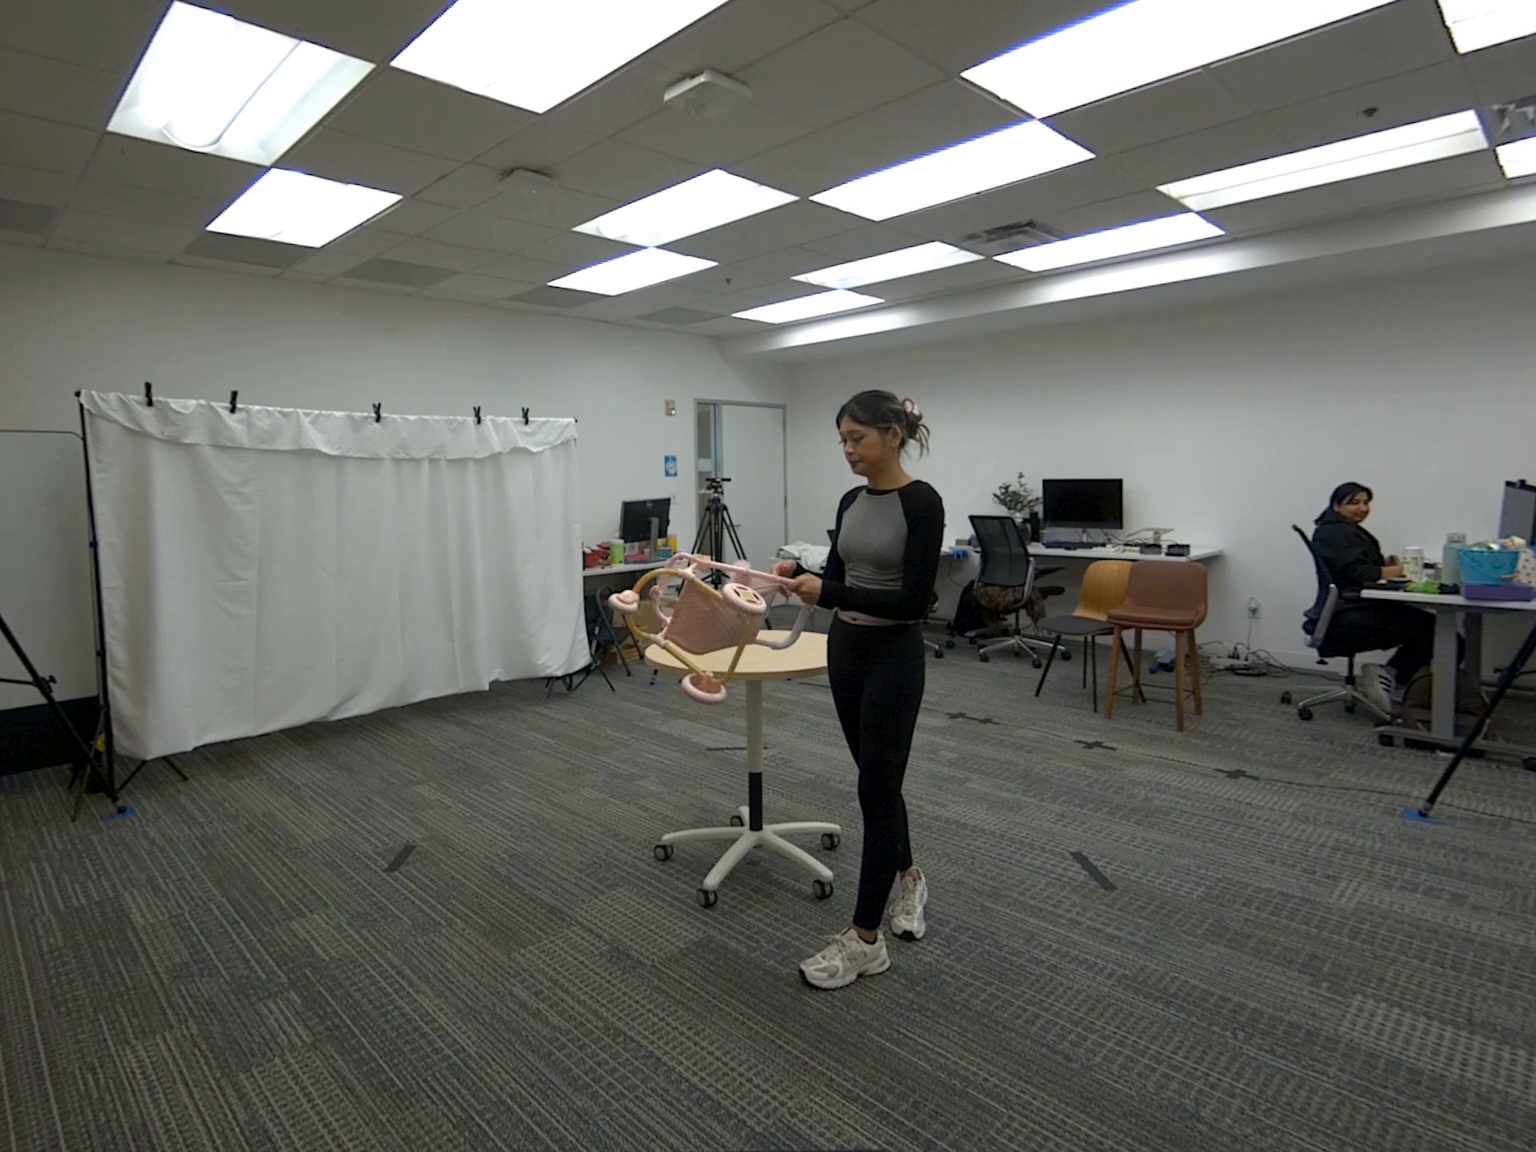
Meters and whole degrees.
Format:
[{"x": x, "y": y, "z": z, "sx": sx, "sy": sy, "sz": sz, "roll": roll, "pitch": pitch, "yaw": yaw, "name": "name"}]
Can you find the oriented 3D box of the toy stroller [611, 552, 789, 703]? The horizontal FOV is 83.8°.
[{"x": -0.136, "y": 0.088, "z": 2.145, "sx": 0.349, "sy": 0.279, "sz": 0.528, "roll": 25, "pitch": 19, "yaw": 17, "name": "toy stroller"}]
